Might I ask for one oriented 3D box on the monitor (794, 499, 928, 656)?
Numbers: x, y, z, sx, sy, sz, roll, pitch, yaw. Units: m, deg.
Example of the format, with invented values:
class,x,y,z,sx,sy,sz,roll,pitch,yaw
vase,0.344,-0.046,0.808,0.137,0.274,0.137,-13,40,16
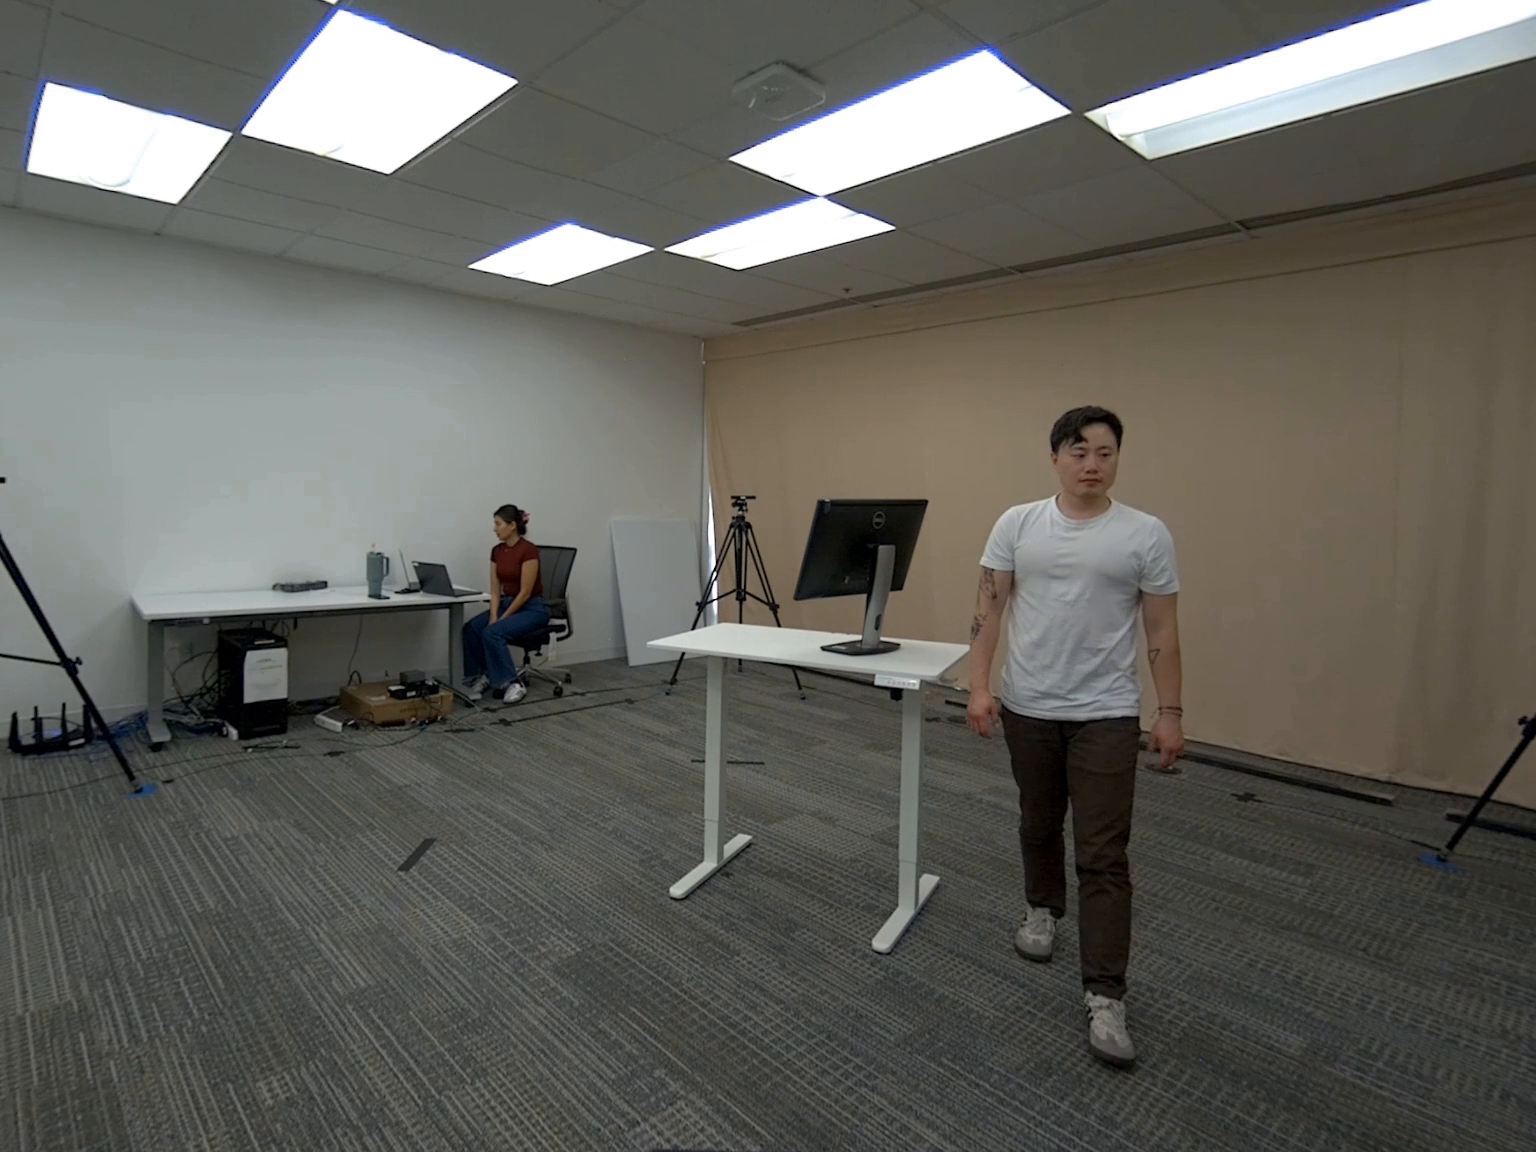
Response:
class,x,y,z,sx,sy,sz,roll,pitch,yaw
monitor,0.338,0.000,2.861,0.527,0.520,0.192,-3,10,-41
